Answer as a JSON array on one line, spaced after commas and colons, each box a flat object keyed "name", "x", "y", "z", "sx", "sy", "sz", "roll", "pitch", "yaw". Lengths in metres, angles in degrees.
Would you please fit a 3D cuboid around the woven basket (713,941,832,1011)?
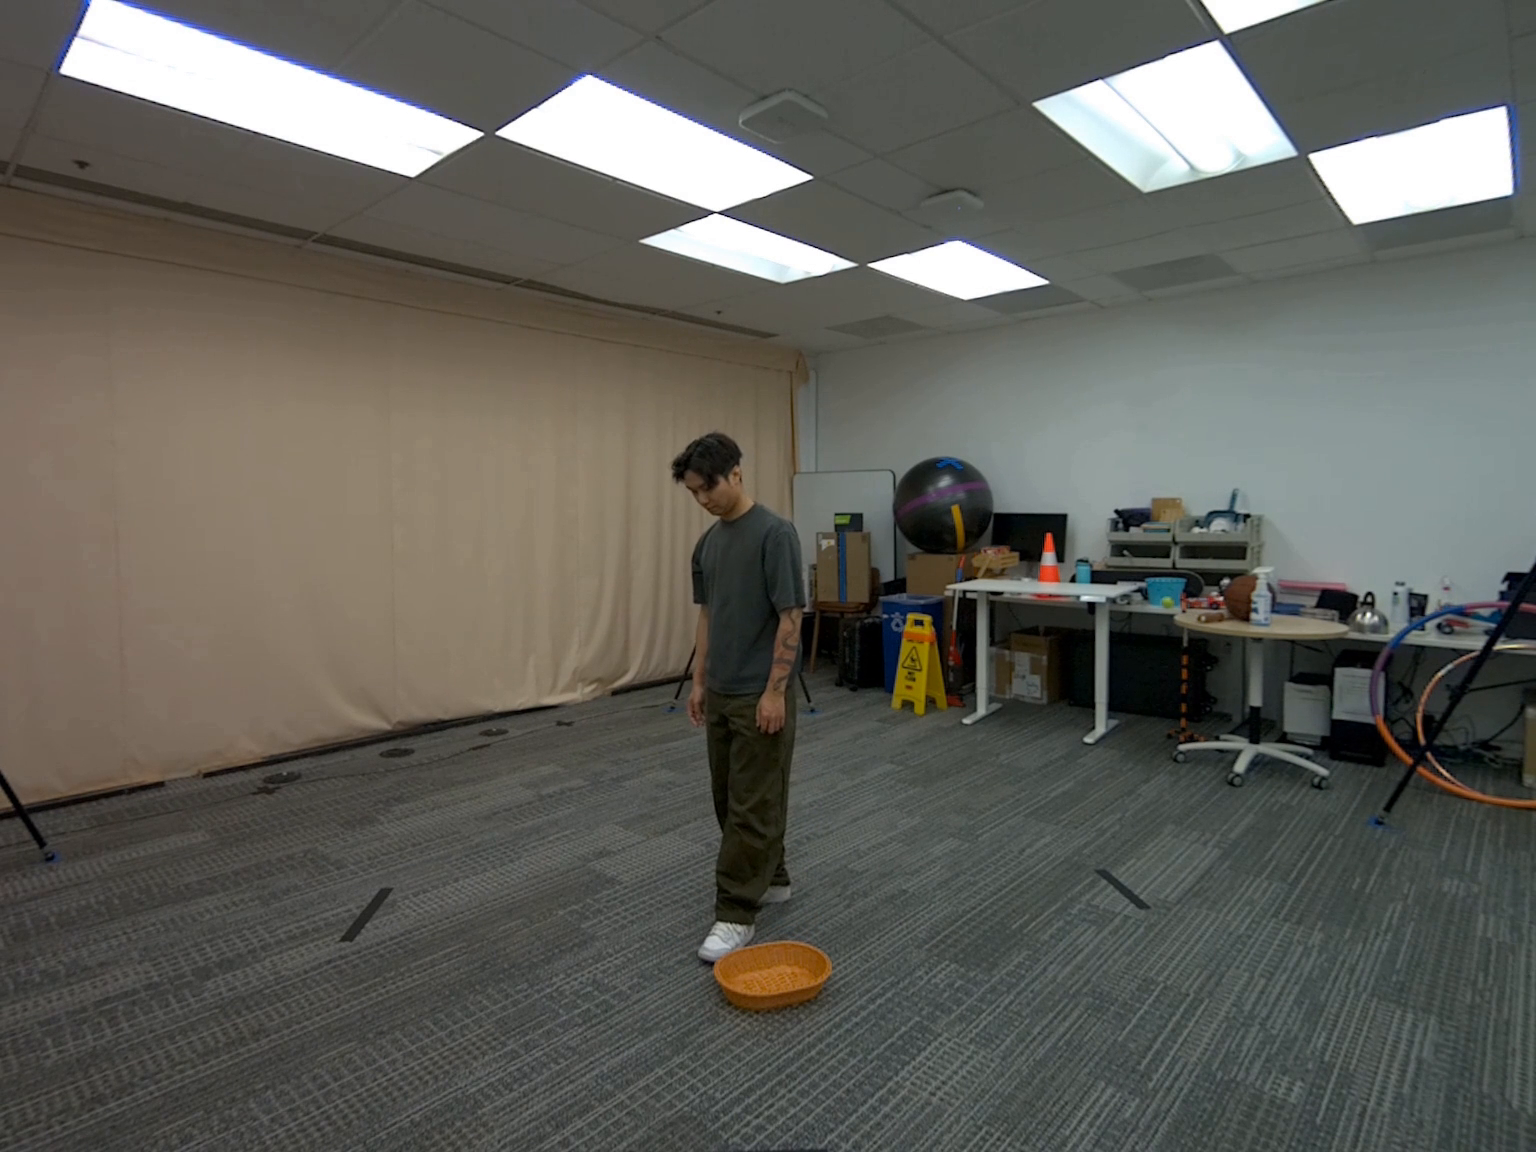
[{"name": "woven basket", "x": 0.016, "y": 1.149, "z": 2.423, "sx": 0.343, "sy": 0.073, "sz": 0.258, "roll": -1, "pitch": 5, "yaw": -21}]
